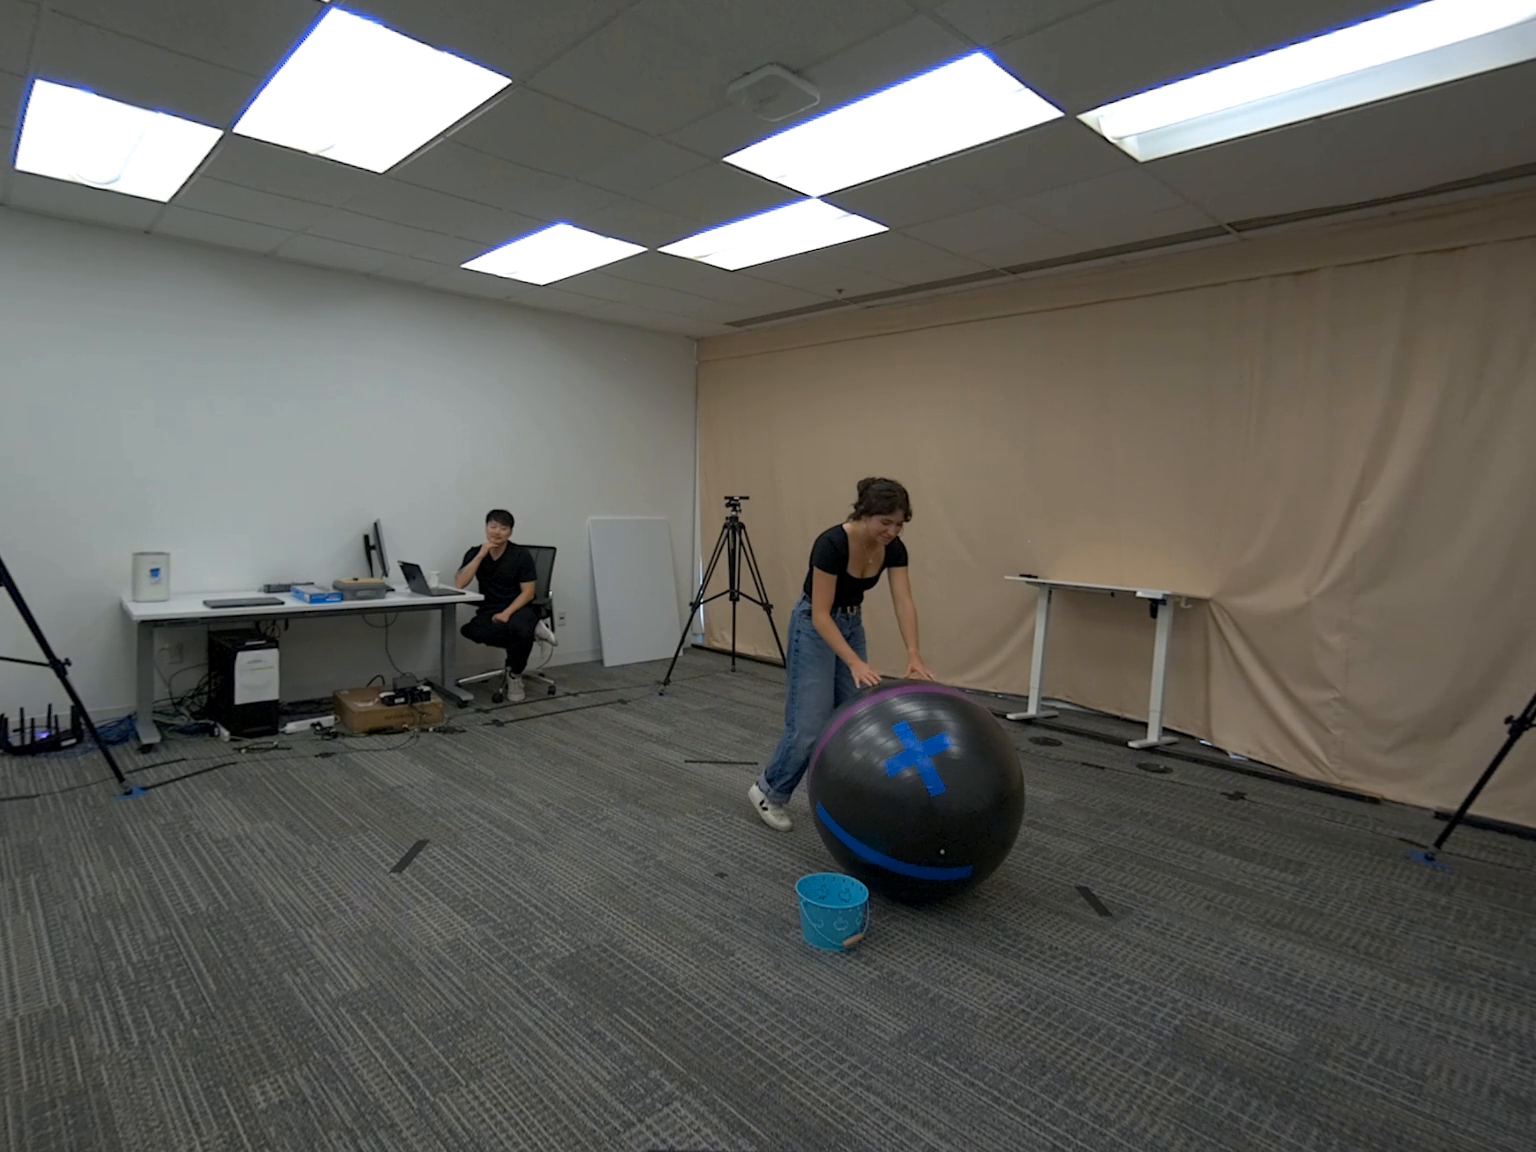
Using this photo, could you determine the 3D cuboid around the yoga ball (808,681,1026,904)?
[{"bbox_3d":[0.520,0.757,3.004,0.757,0.756,0.761,1,4,-1],"label":"yoga ball"}]
